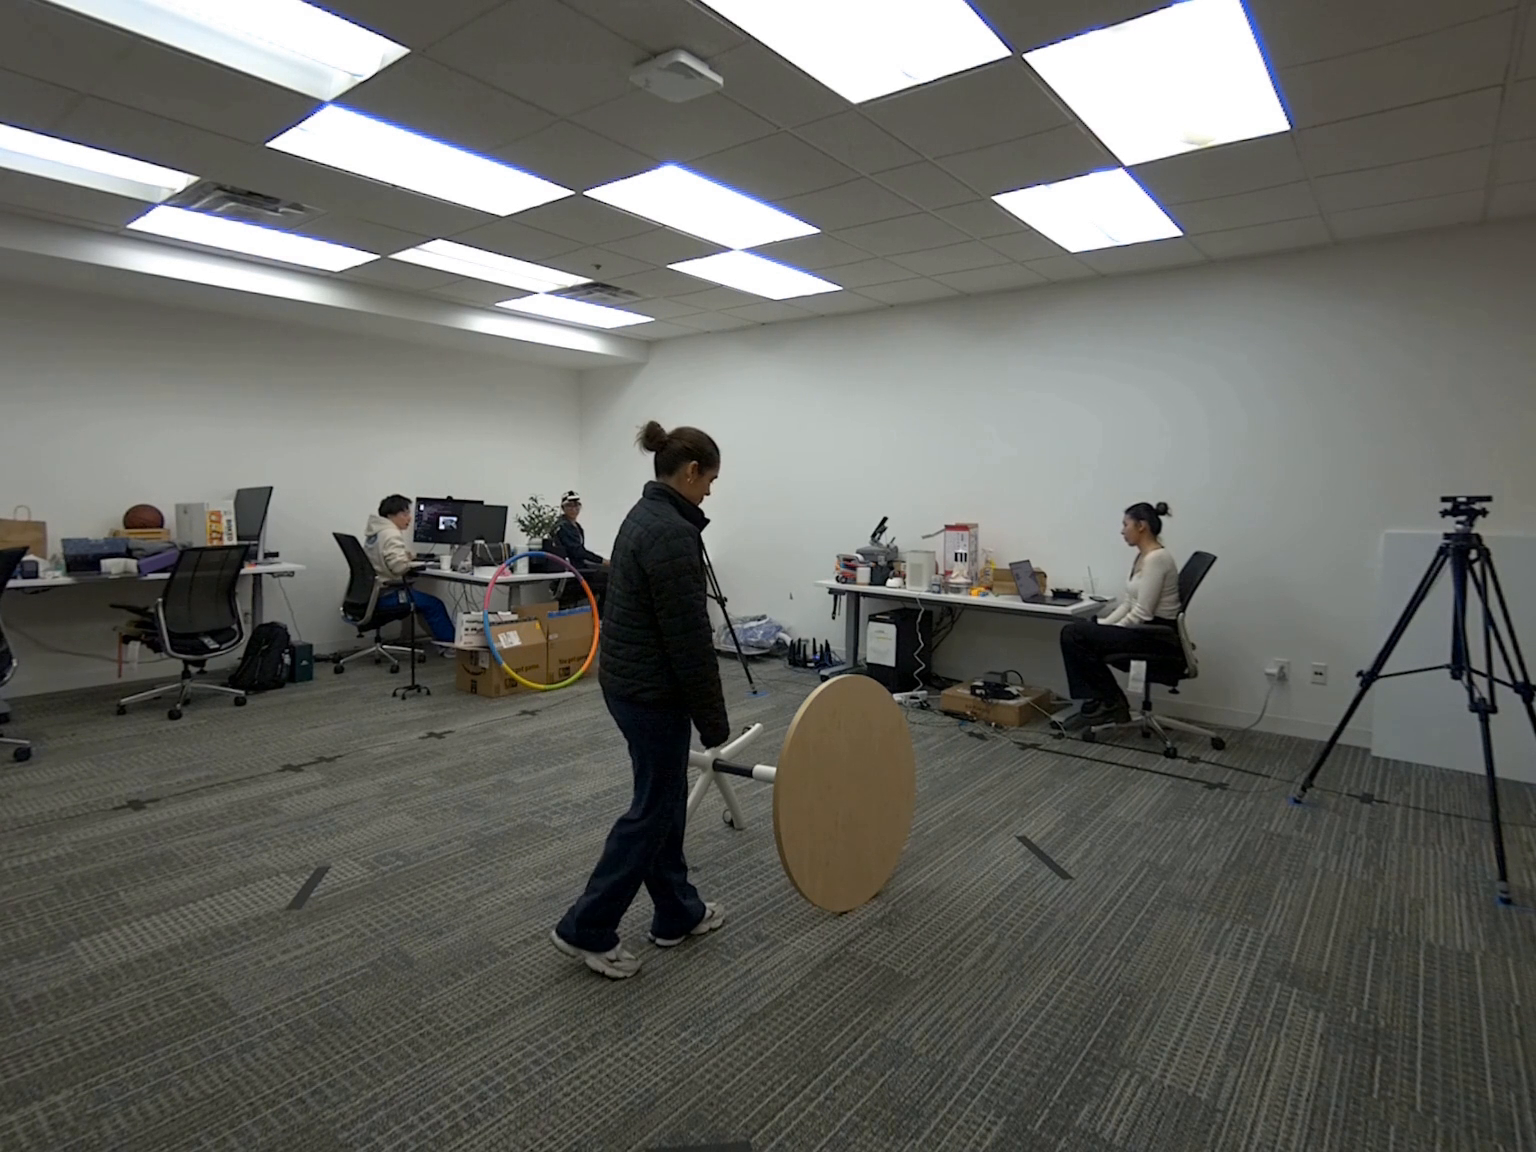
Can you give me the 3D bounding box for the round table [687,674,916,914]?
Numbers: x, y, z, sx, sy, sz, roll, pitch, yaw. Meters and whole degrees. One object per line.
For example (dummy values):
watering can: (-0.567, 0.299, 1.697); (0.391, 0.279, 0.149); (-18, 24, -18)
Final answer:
round table: (0.010, 0.726, 3.159); (0.810, 0.785, 0.761); (-3, 1, 44)
